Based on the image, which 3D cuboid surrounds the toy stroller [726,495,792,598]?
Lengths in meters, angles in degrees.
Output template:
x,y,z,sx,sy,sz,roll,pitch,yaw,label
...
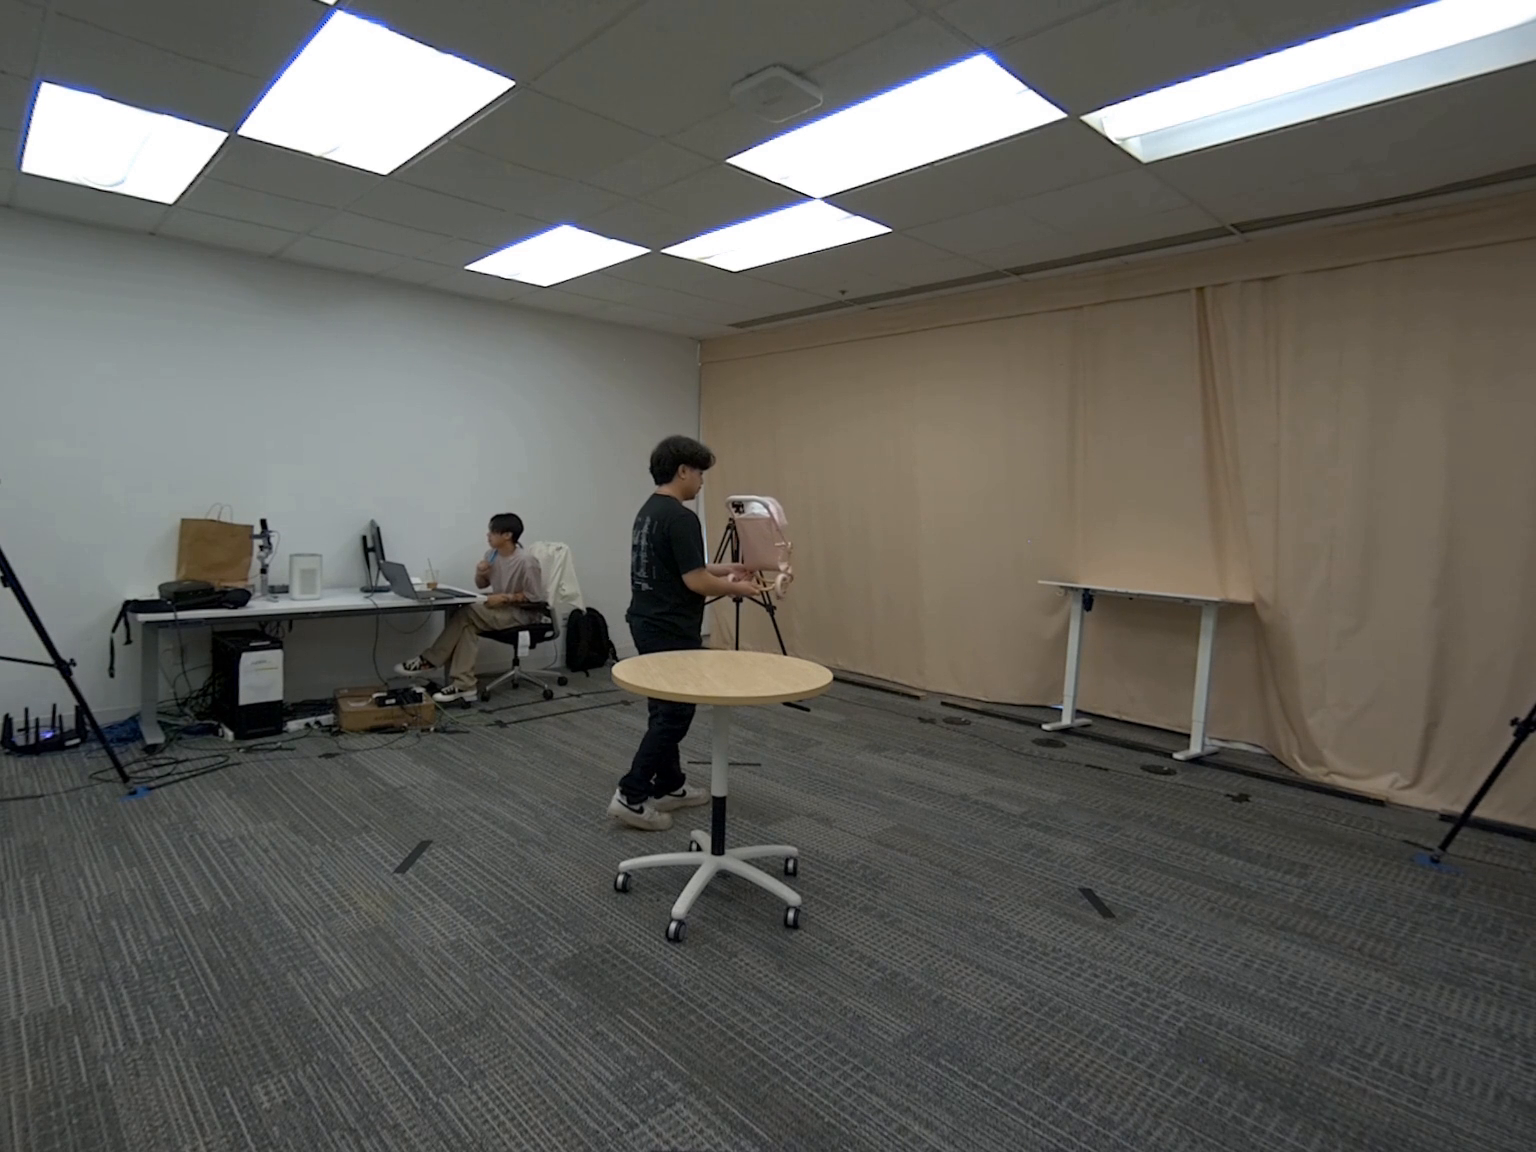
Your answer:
x,y,z,sx,sy,sz,roll,pitch,yaw,label
-0.032,-0.124,3.856,0.287,0.531,0.337,0,10,29,toy stroller
